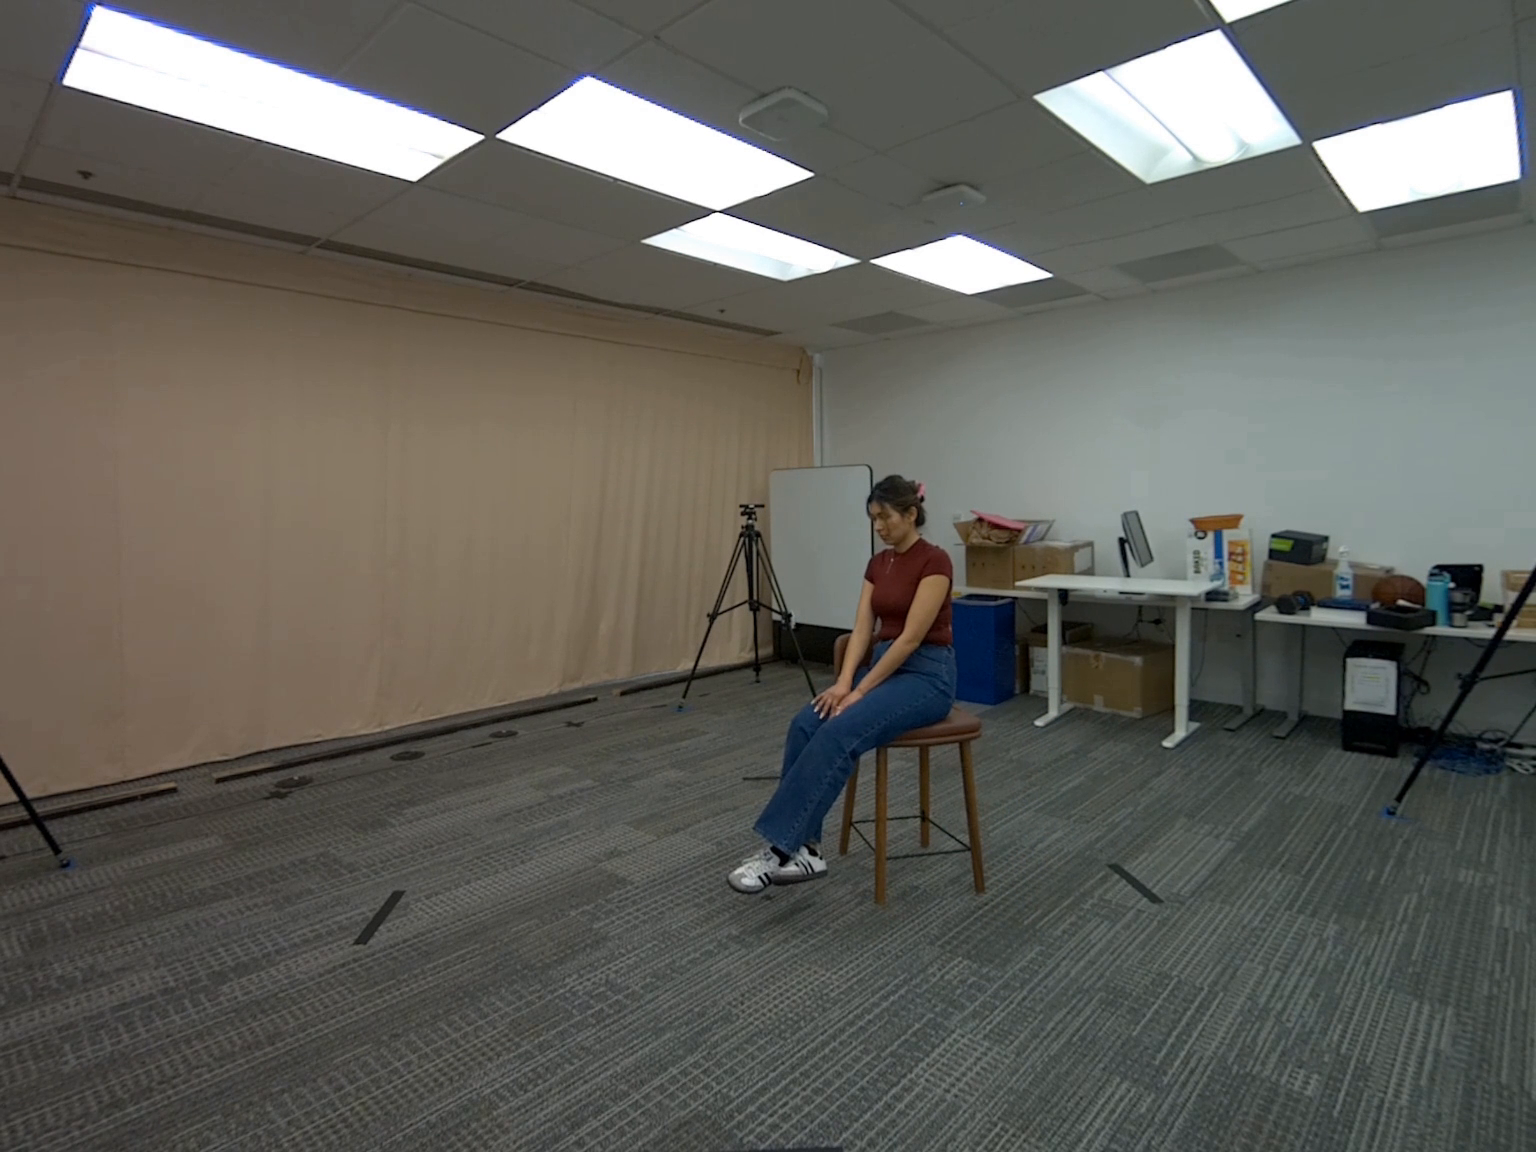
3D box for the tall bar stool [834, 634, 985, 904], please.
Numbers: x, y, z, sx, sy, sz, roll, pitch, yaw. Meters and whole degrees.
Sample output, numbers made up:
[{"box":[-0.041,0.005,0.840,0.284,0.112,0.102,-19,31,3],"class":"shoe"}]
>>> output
[{"box":[0.521,0.683,3.160,0.450,0.889,0.475,-1,2,-14],"class":"tall bar stool"}]
